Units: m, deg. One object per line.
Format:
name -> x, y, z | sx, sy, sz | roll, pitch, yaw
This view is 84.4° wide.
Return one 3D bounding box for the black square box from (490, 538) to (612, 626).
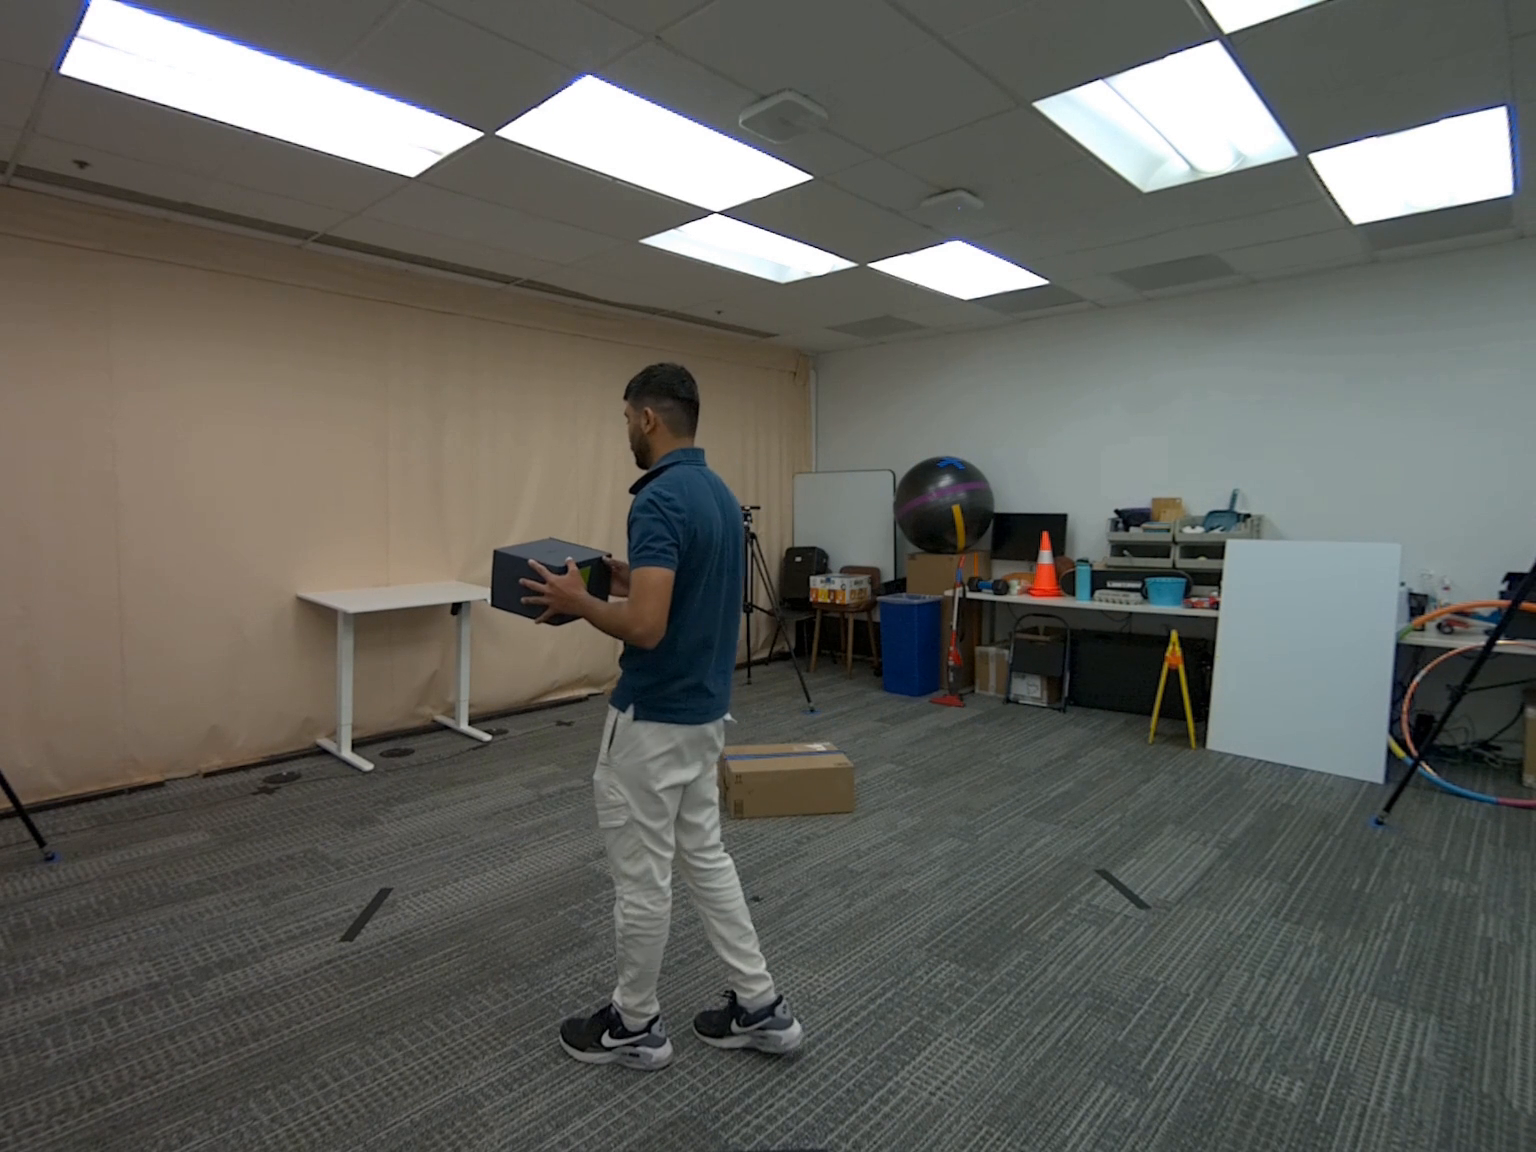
black square box -> -0.559, 0.009, 2.217 | 0.223, 0.155, 0.223 | 12, 14, 23
